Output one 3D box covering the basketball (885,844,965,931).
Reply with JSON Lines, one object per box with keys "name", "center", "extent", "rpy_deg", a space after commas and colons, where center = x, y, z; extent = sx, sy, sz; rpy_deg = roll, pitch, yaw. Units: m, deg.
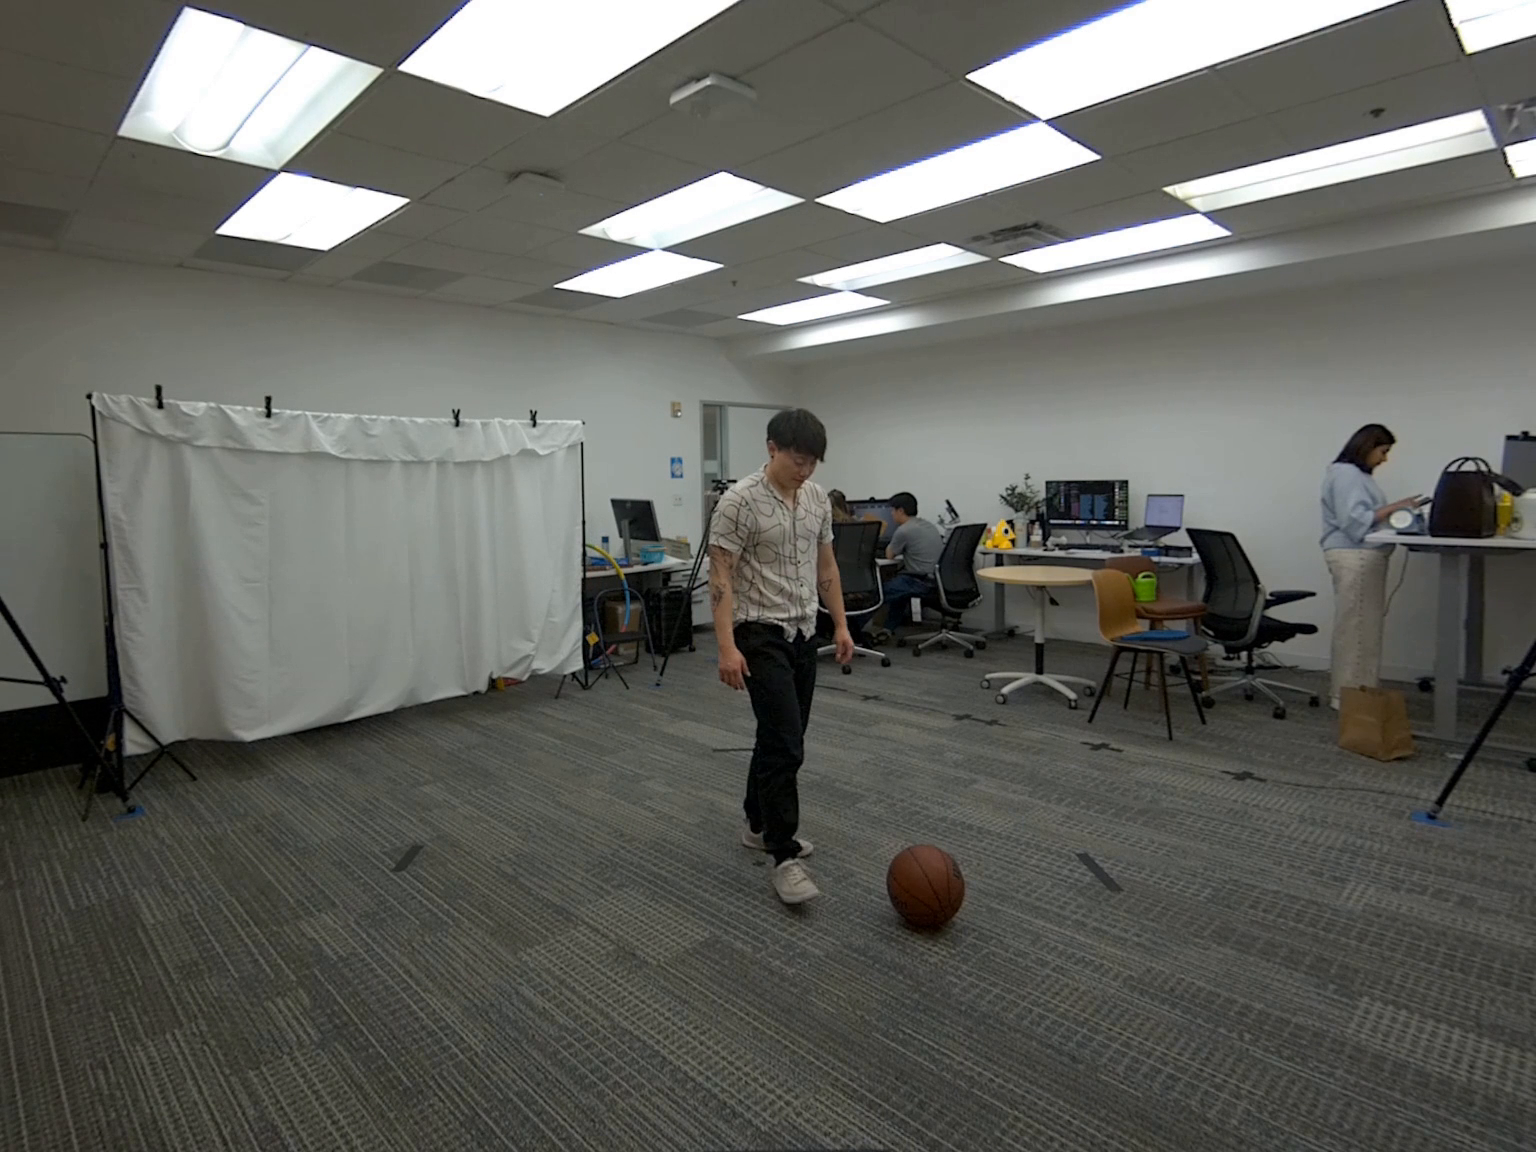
{"name": "basketball", "center": [0.499, 0.967, 2.675], "extent": [0.236, 0.235, 0.237], "rpy_deg": [-1, 5, -2]}
